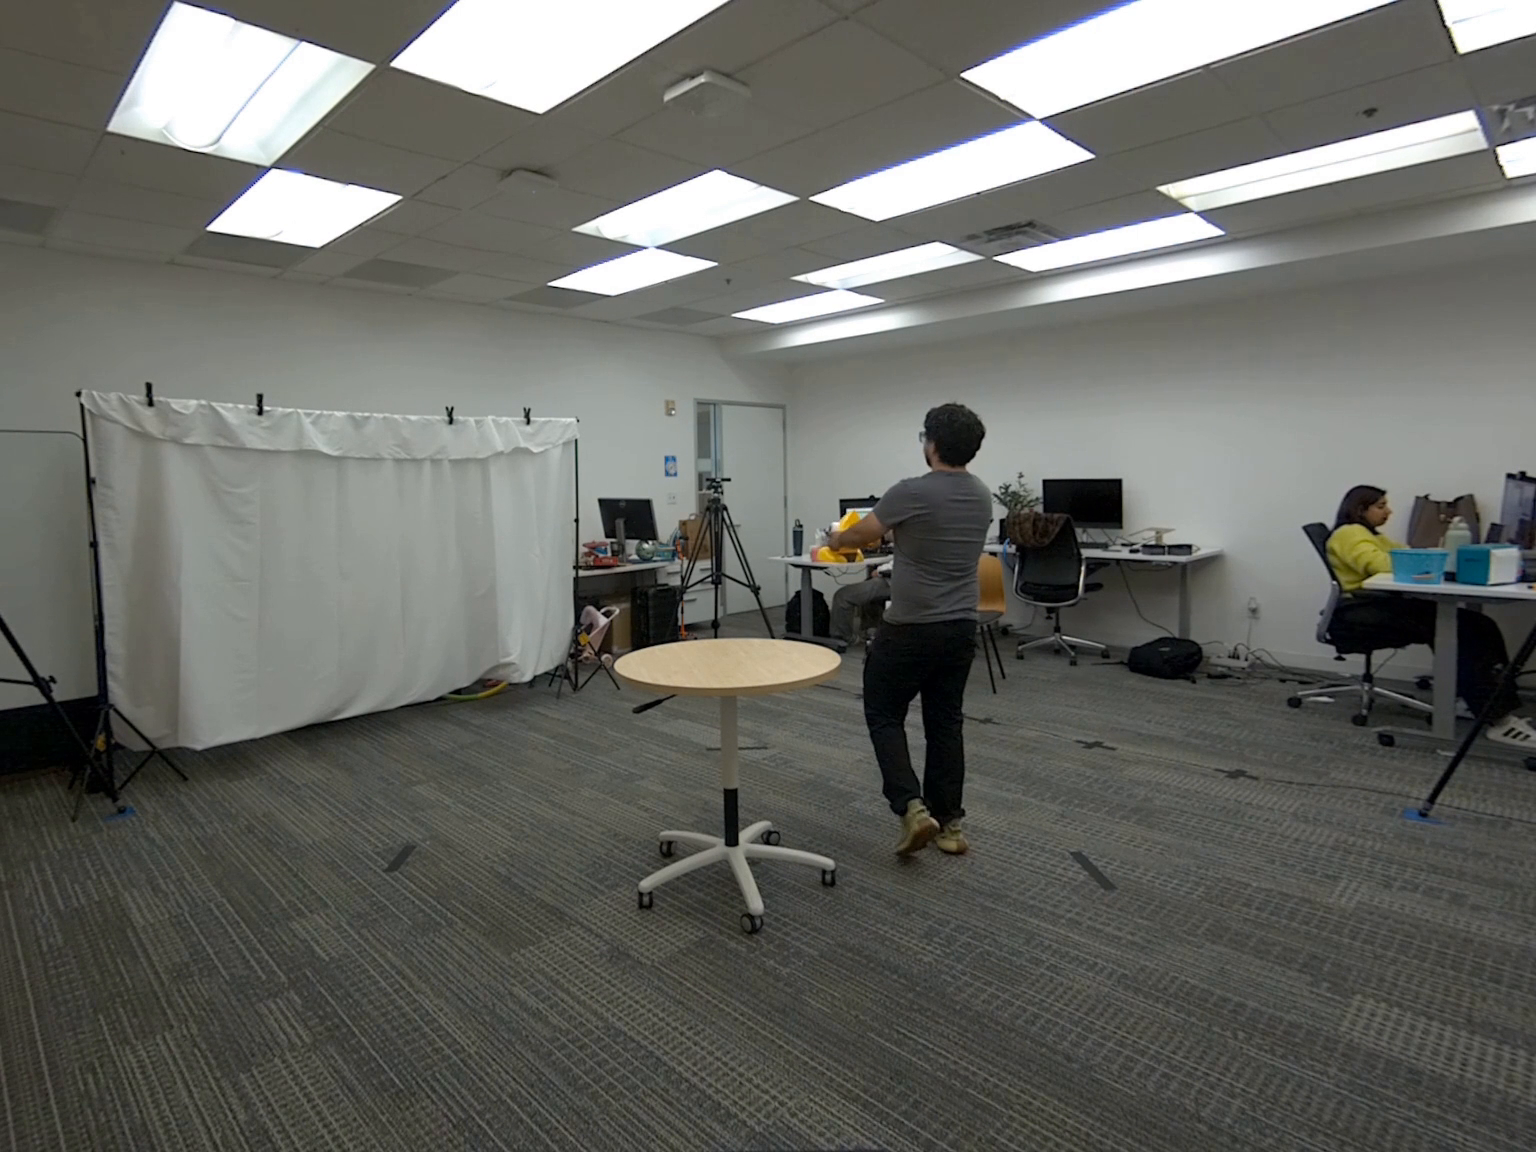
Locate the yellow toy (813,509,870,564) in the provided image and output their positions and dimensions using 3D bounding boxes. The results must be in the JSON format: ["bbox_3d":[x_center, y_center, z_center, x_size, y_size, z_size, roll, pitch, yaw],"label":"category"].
[{"bbox_3d":[0.330,-0.182,3.725,0.200,0.229,0.199,-2,11,-32],"label":"yellow toy"}]
